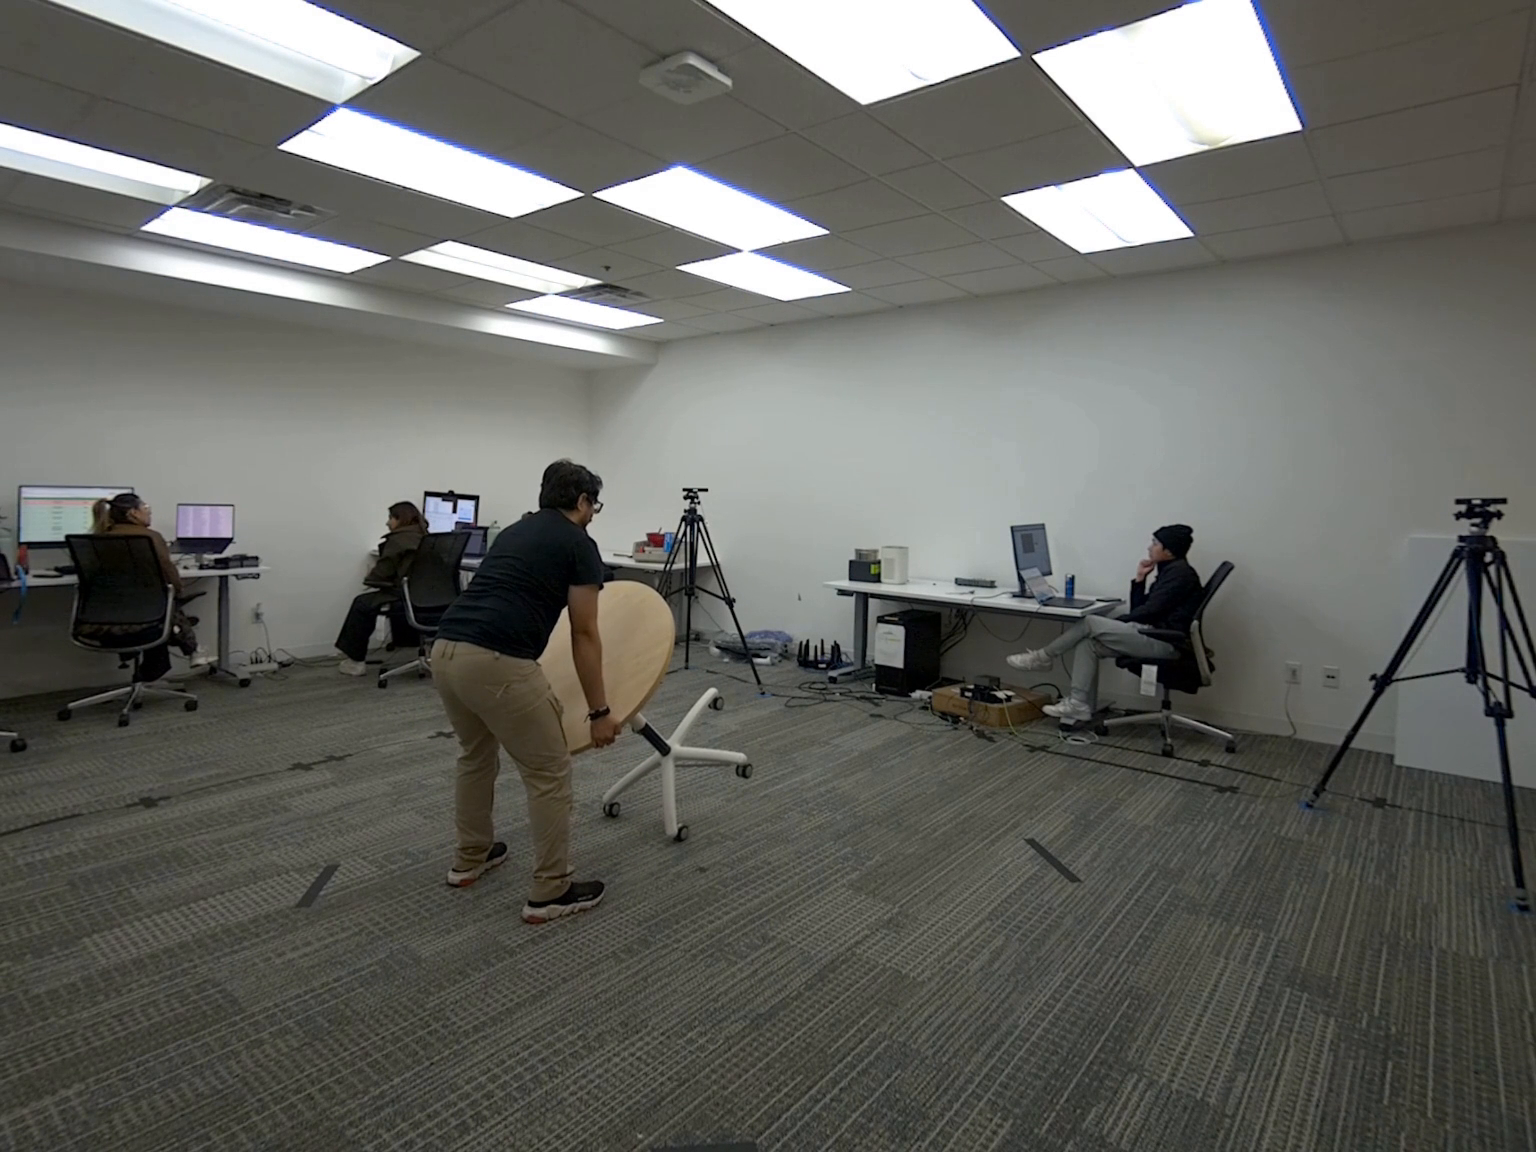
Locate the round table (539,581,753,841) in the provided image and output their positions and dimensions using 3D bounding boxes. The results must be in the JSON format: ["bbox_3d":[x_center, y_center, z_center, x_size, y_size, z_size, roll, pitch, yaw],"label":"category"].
[{"bbox_3d":[-0.541,0.569,3.373,0.810,0.792,0.755,4,-38,36],"label":"round table"}]
